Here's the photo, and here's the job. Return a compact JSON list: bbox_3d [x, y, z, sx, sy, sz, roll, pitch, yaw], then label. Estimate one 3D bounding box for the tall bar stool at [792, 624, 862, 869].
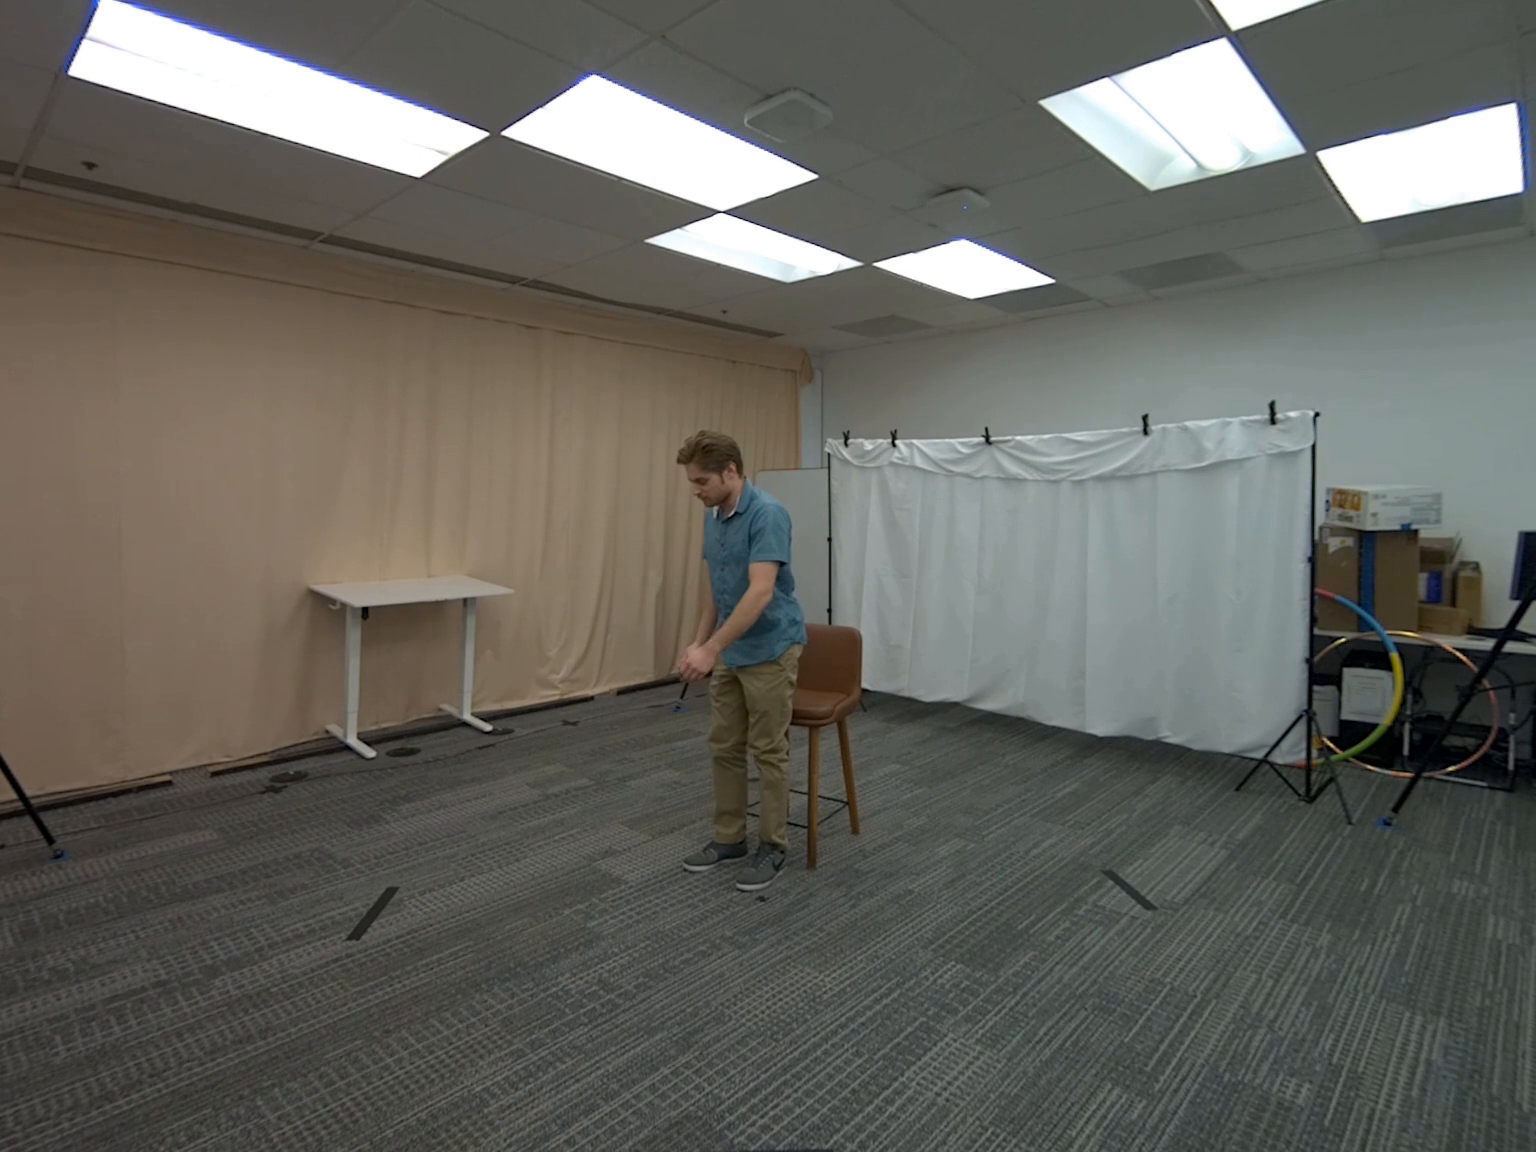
[{"bbox_3d":[0.129,0.664,3.488,0.470,0.889,0.454,3,2,33],"label":"tall bar stool"}]
